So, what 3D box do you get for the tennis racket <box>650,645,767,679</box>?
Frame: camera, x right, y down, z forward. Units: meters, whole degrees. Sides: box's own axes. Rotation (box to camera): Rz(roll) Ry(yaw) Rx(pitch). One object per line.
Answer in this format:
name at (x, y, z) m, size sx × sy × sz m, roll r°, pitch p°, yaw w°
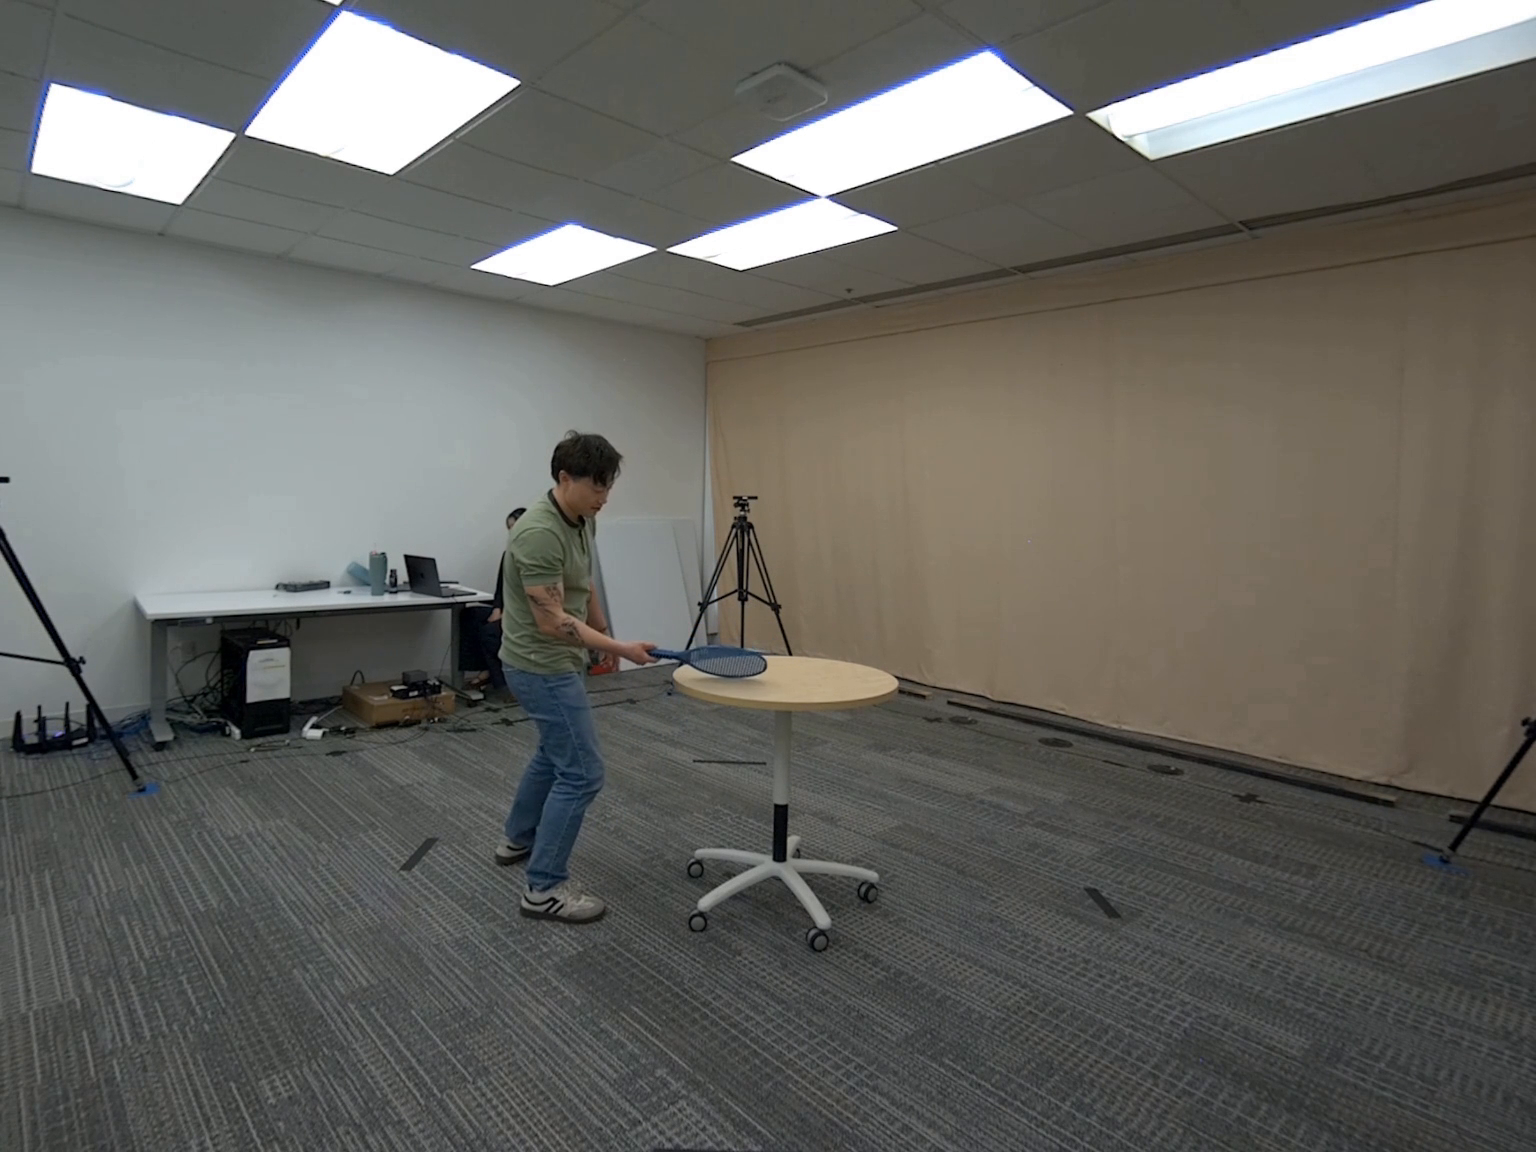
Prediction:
tennis racket at (-0.214, 0.272, 2.740) m, size 0.432 × 0.032 × 0.210 m, roll 7°, pitch -33°, yaw -3°
